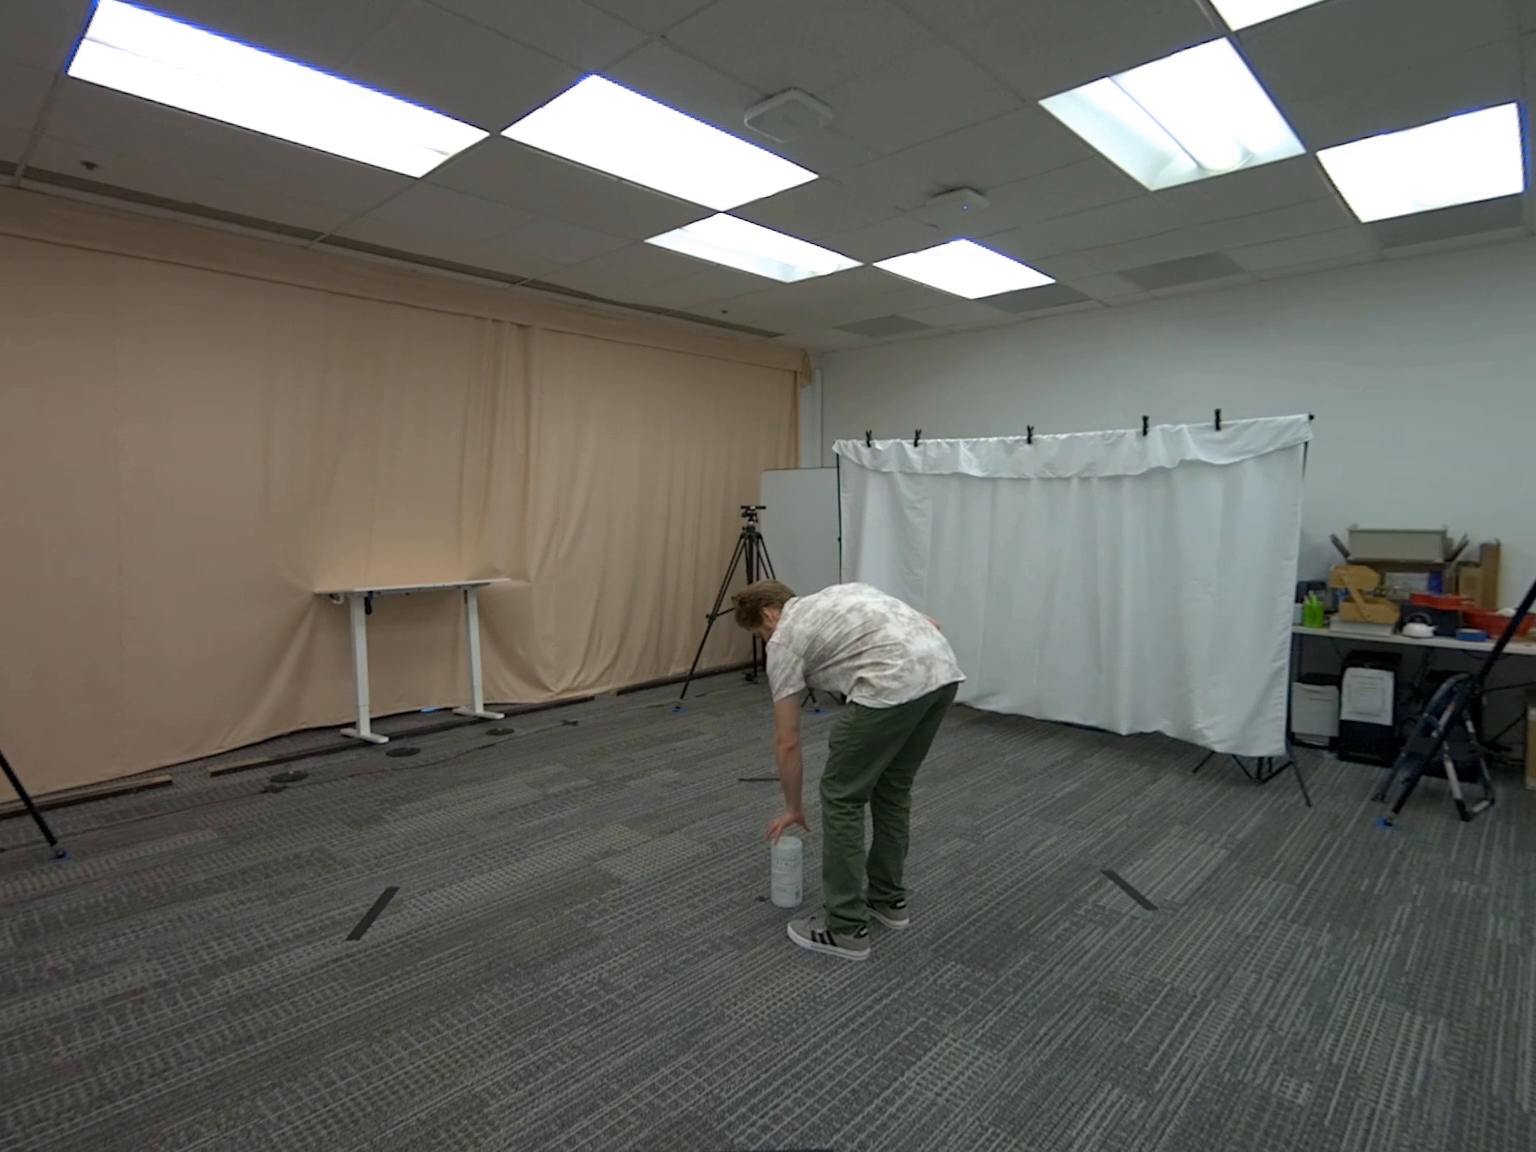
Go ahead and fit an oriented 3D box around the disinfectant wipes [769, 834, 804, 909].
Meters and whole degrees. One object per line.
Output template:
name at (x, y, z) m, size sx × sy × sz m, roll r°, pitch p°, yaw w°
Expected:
disinfectant wipes at (0.072, 1.044, 2.954) m, size 0.118 × 0.217 × 0.118 m, roll 0°, pitch 5°, yaw -2°
